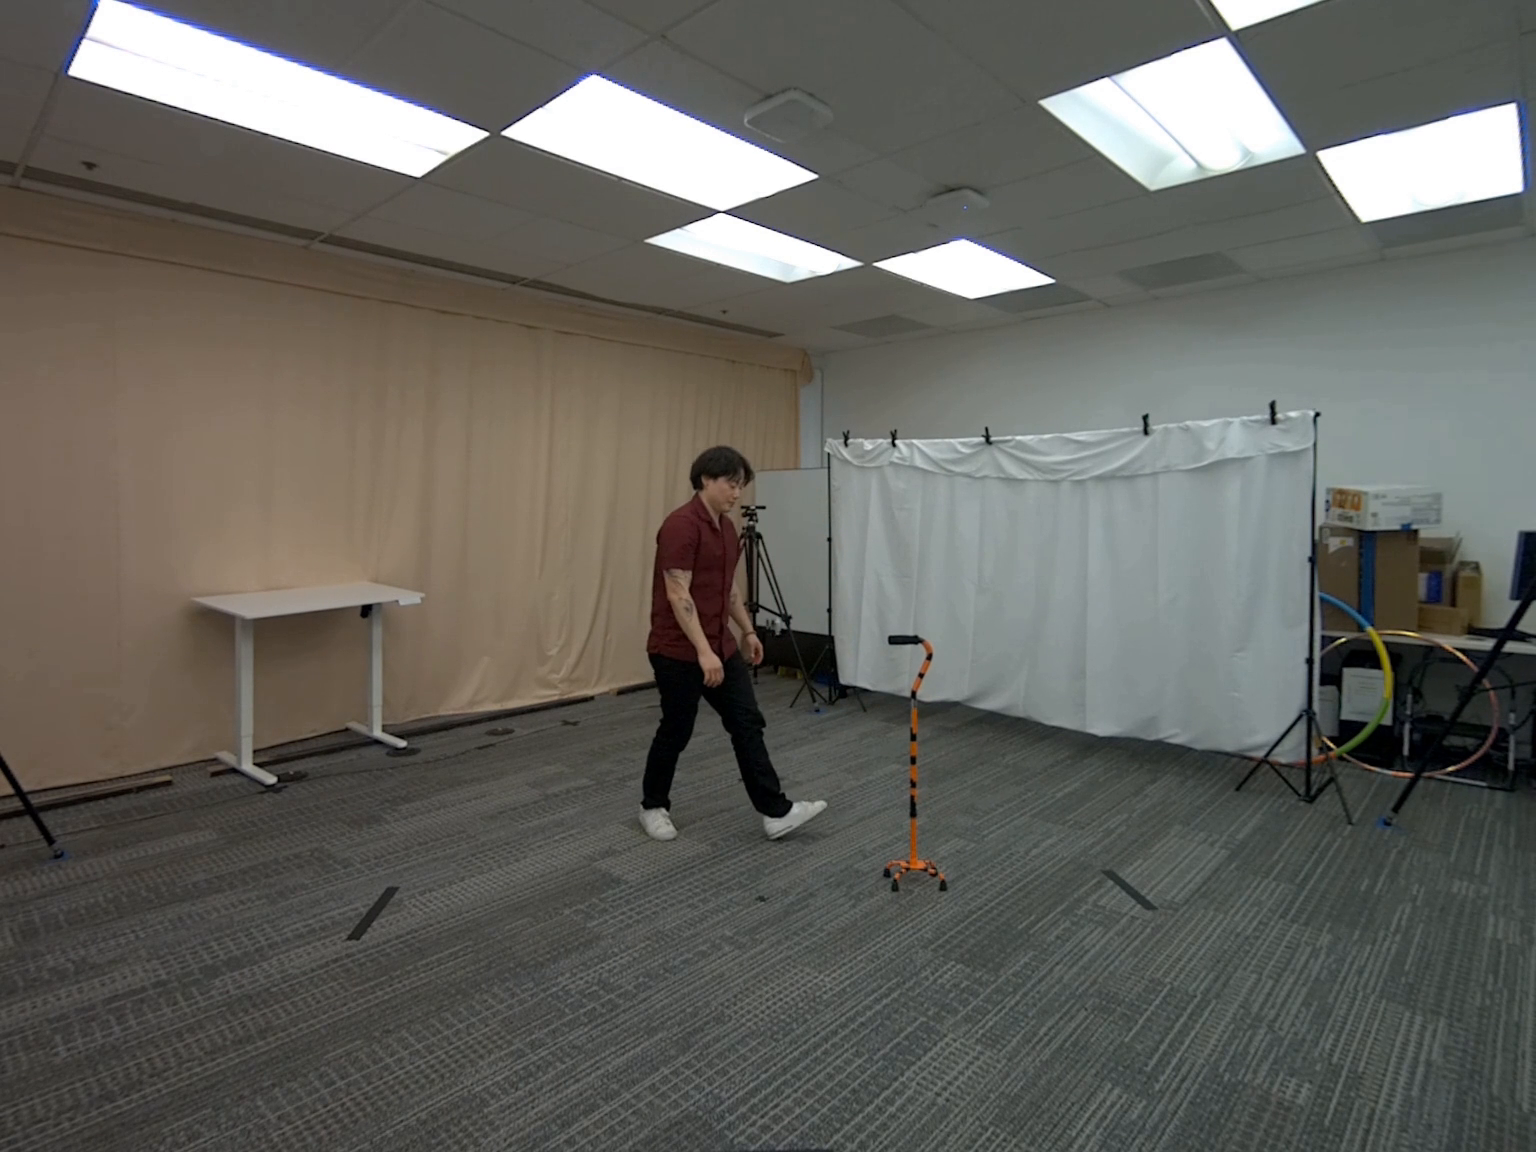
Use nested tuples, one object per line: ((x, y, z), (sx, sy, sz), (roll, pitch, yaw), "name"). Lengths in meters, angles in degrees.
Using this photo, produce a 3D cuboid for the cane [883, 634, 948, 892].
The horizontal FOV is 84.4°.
((0.546, 0.681, 3.091), (0.205, 0.907, 0.152), (0, 2, -5), "cane")
